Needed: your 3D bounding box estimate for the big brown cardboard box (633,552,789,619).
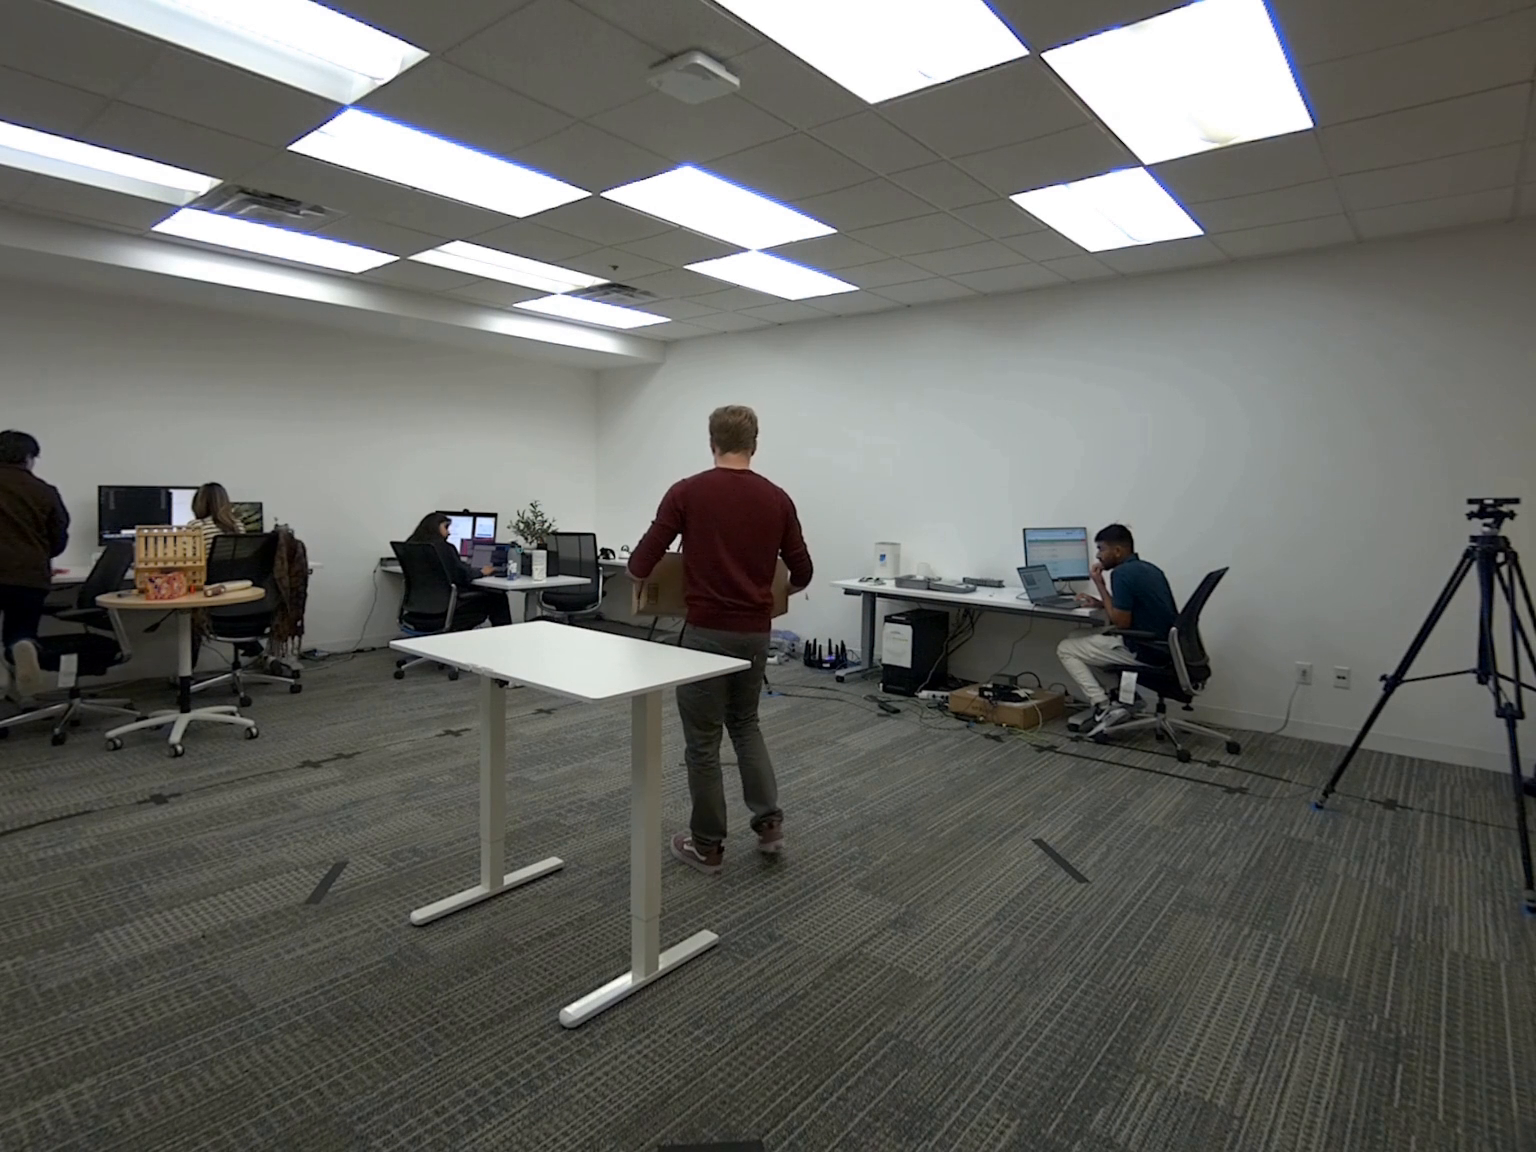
[{"bbox_3d":[-0.244,0.052,3.449,0.581,0.235,0.420,5,-9,-12],"label":"big brown cardboard box"}]
